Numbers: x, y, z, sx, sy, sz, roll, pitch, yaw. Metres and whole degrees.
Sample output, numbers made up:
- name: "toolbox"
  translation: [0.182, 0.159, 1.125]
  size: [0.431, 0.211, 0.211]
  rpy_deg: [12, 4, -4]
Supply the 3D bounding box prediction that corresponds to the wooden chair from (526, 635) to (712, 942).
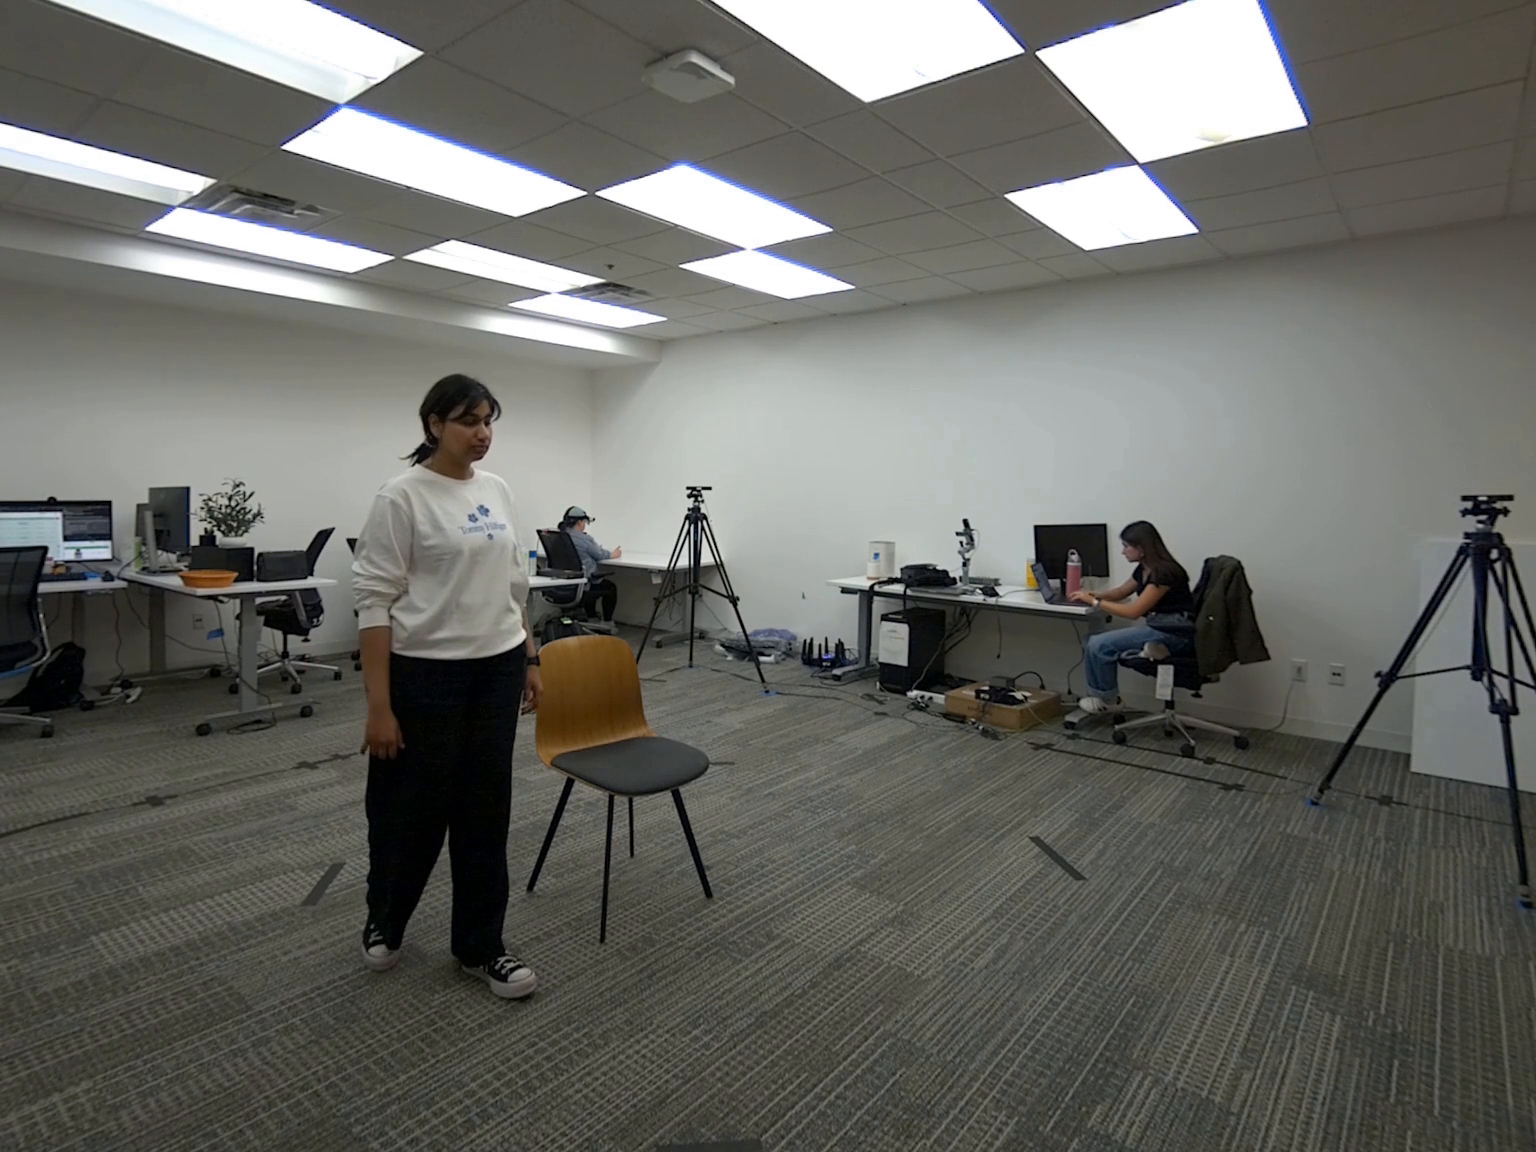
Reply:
- name: "wooden chair"
  translation: [-0.491, 0.656, 2.864]
  size: [0.463, 0.878, 0.539]
  rpy_deg: [-2, 0, -44]
